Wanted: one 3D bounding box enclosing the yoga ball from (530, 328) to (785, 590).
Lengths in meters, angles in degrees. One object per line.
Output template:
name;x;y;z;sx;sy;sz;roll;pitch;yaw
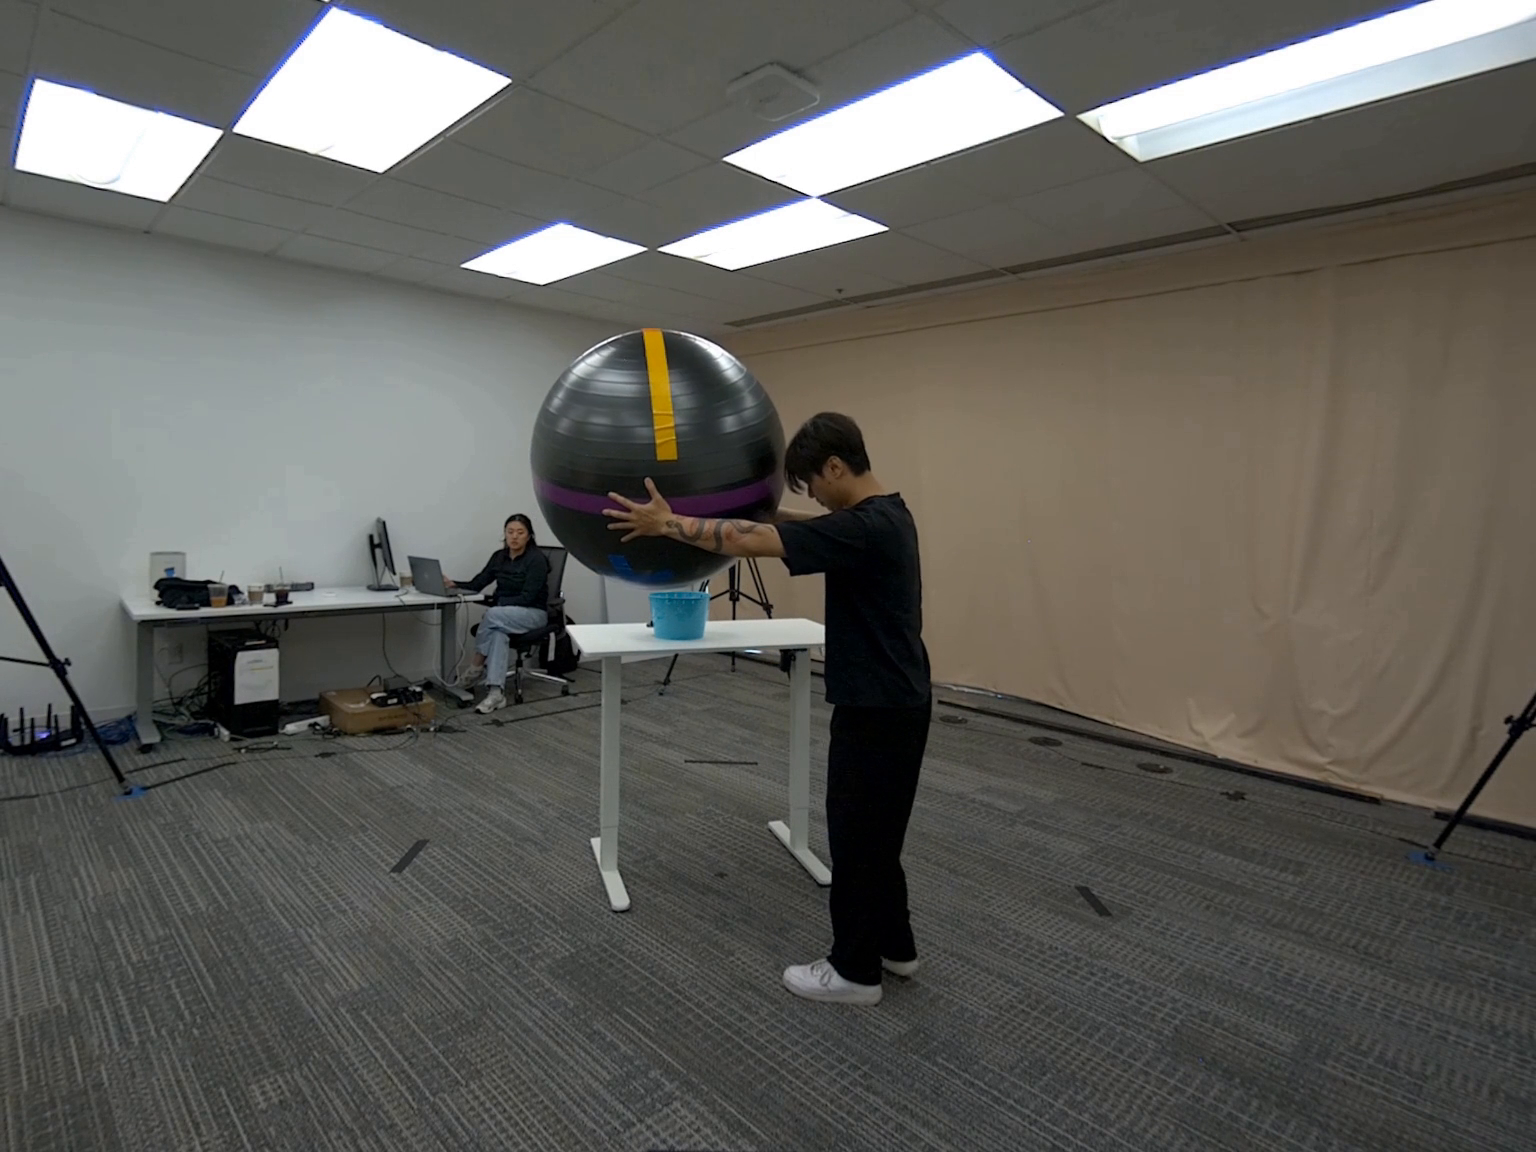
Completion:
yoga ball;-0.328;-0.340;2.509;0.757;0.756;0.761;1;4;-1
